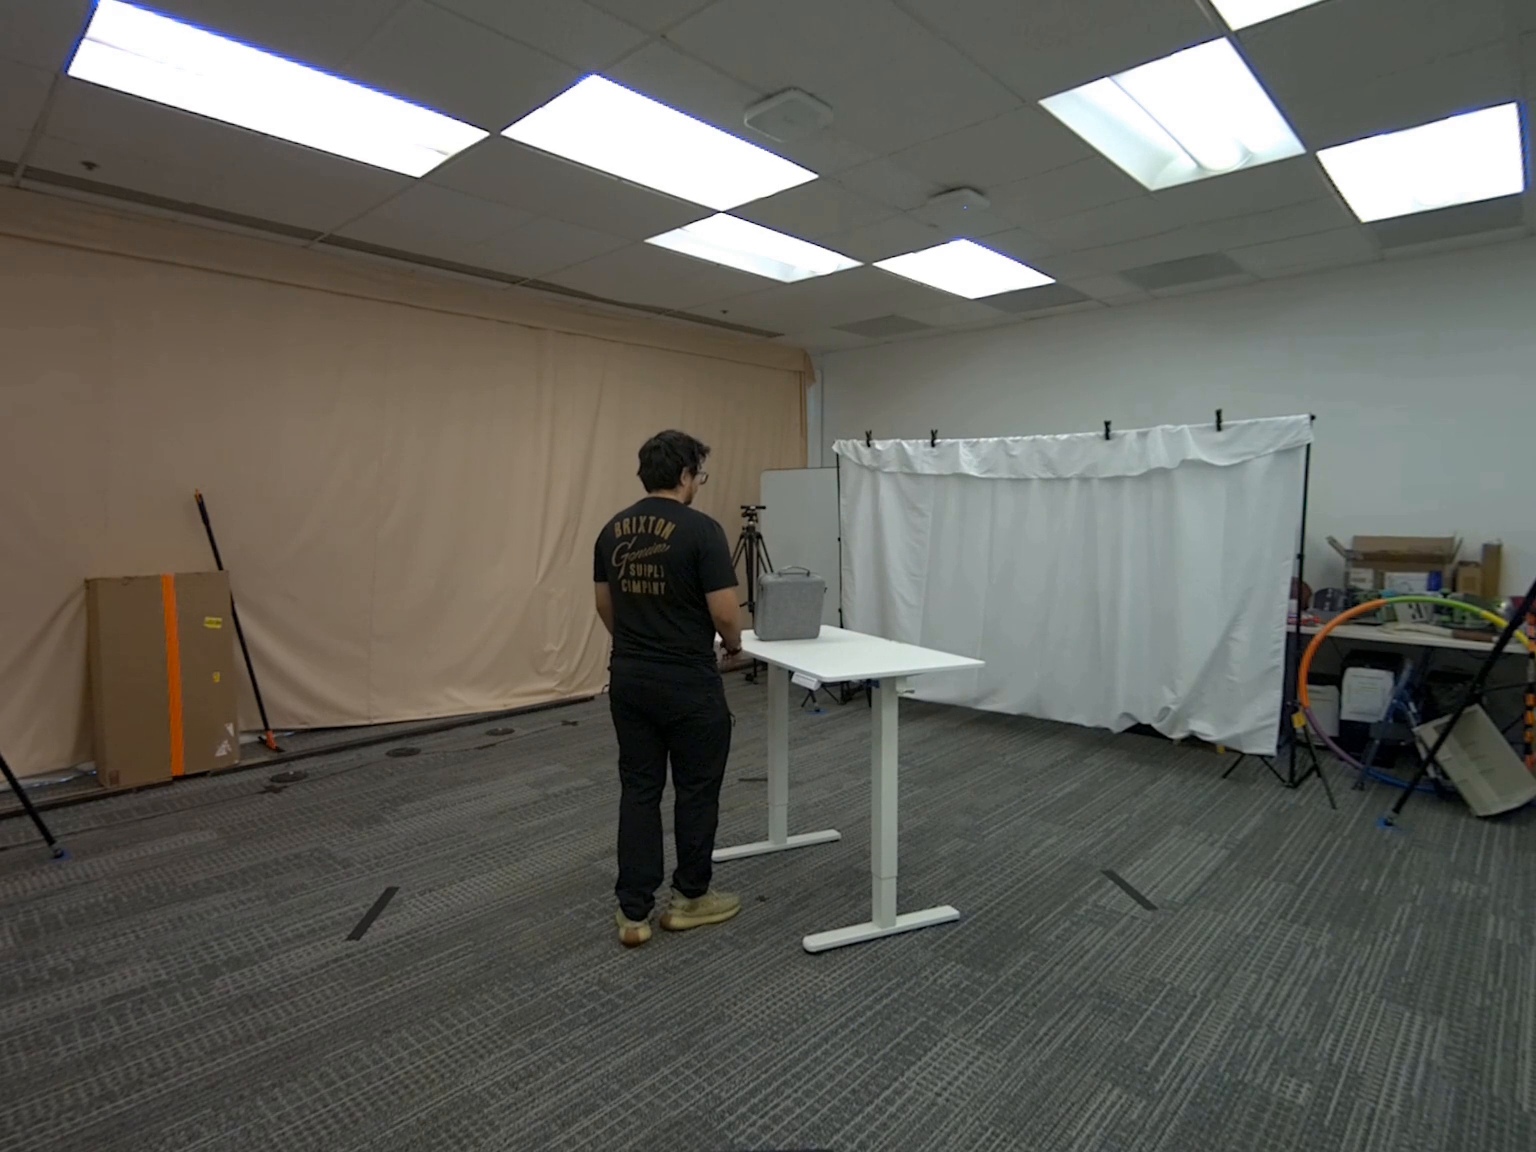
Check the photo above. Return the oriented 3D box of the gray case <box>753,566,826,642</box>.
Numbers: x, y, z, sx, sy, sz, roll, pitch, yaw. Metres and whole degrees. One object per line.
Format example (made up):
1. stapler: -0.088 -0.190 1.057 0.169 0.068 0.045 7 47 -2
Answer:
1. gray case: 0.079 0.116 3.206 0.252 0.259 0.107 0 11 -17
